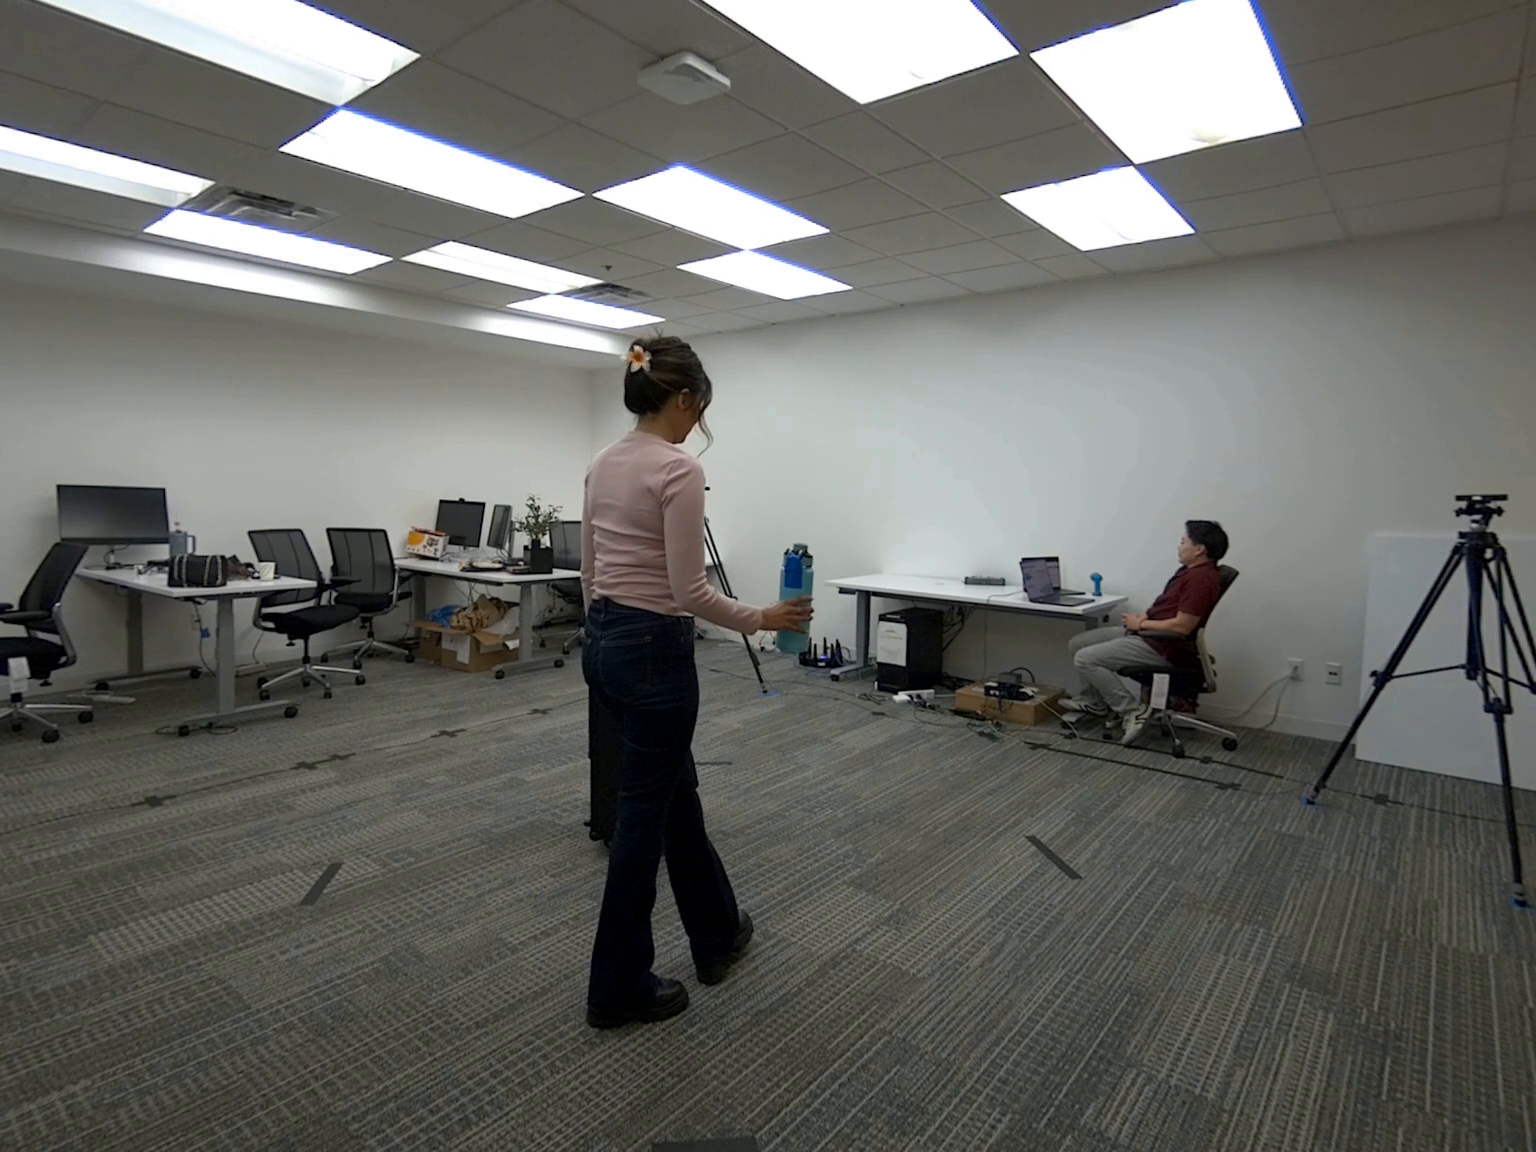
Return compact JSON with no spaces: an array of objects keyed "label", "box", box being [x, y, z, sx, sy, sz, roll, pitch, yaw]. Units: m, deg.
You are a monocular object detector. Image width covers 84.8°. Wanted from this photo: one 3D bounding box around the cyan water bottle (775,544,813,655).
[{"label":"cyan water bottle","box":[0.066,0.056,2.266,0.092,0.280,0.093,3,11,-2]}]
